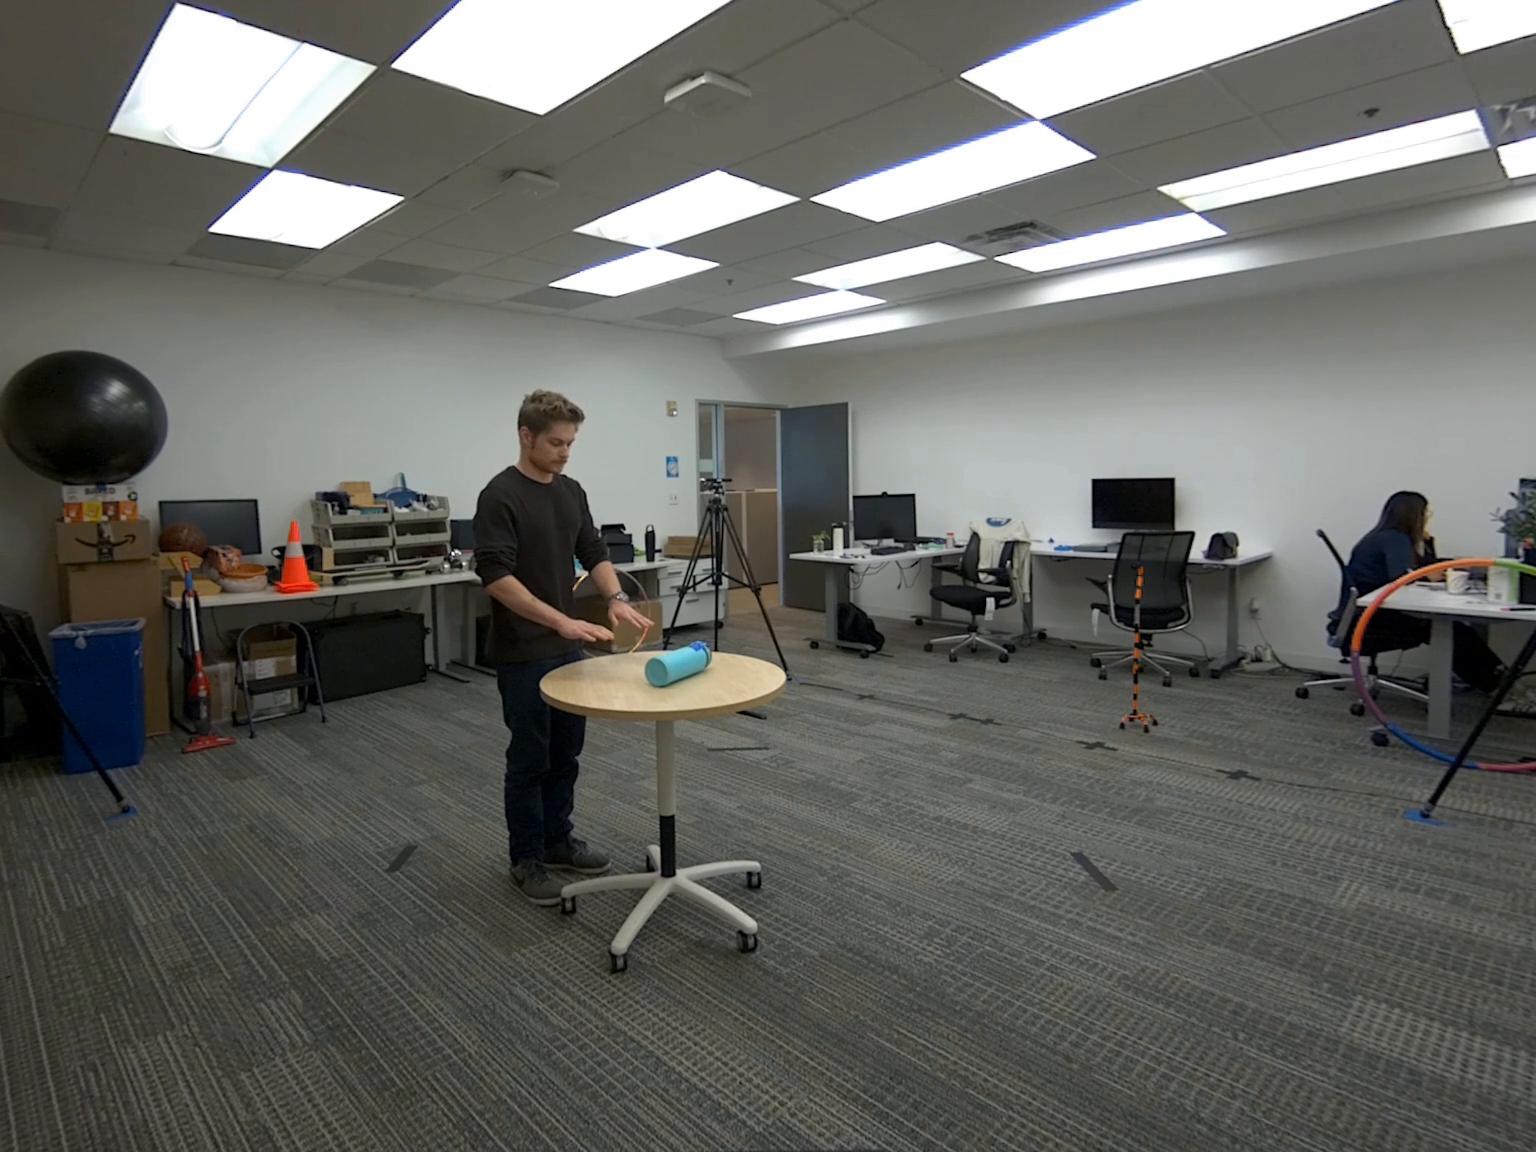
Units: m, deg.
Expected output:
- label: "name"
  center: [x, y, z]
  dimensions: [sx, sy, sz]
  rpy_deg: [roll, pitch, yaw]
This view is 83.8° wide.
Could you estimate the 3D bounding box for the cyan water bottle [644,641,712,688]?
- label: "cyan water bottle"
  center: [-0.264, 0.270, 2.665]
  dimensions: [0.095, 0.092, 0.277]
  rpy_deg: [2, 7, 28]
